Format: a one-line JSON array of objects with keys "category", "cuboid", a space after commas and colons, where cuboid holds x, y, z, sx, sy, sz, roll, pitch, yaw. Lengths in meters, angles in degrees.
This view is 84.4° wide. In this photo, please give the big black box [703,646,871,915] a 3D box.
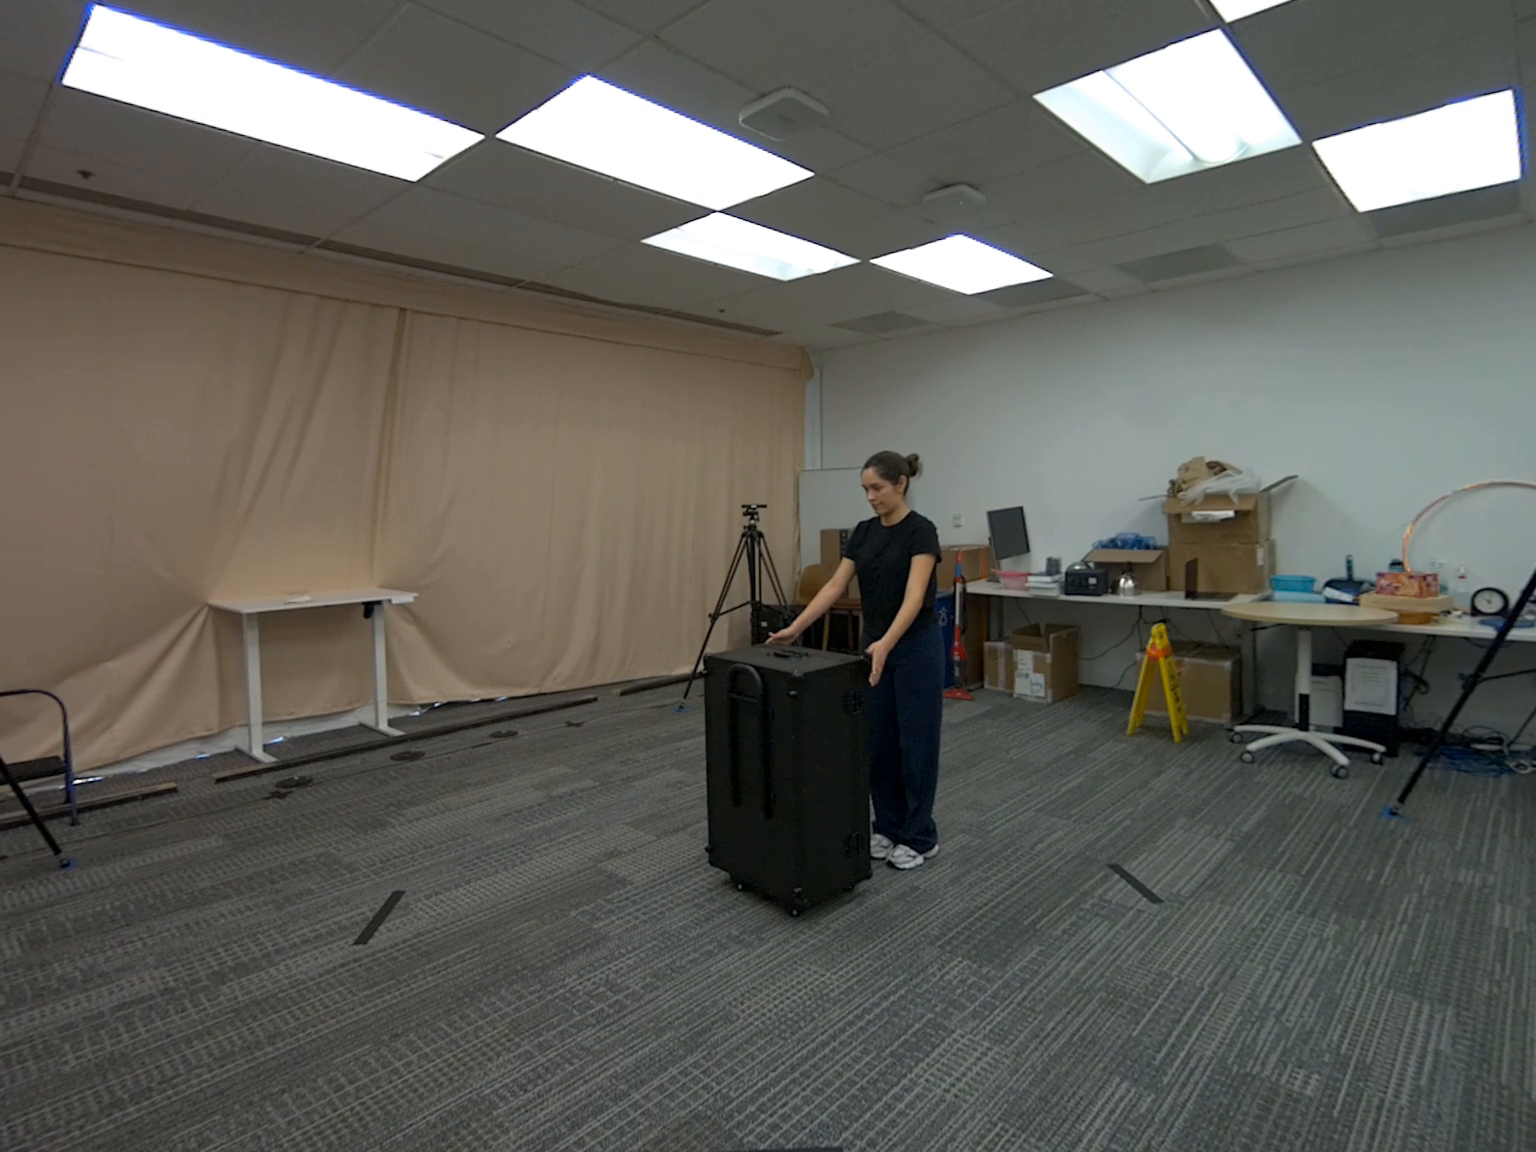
[{"category": "big black box", "cuboid": [0.079, 0.712, 3.008, 0.384, 0.859, 0.538, -5, 6, -42]}]
